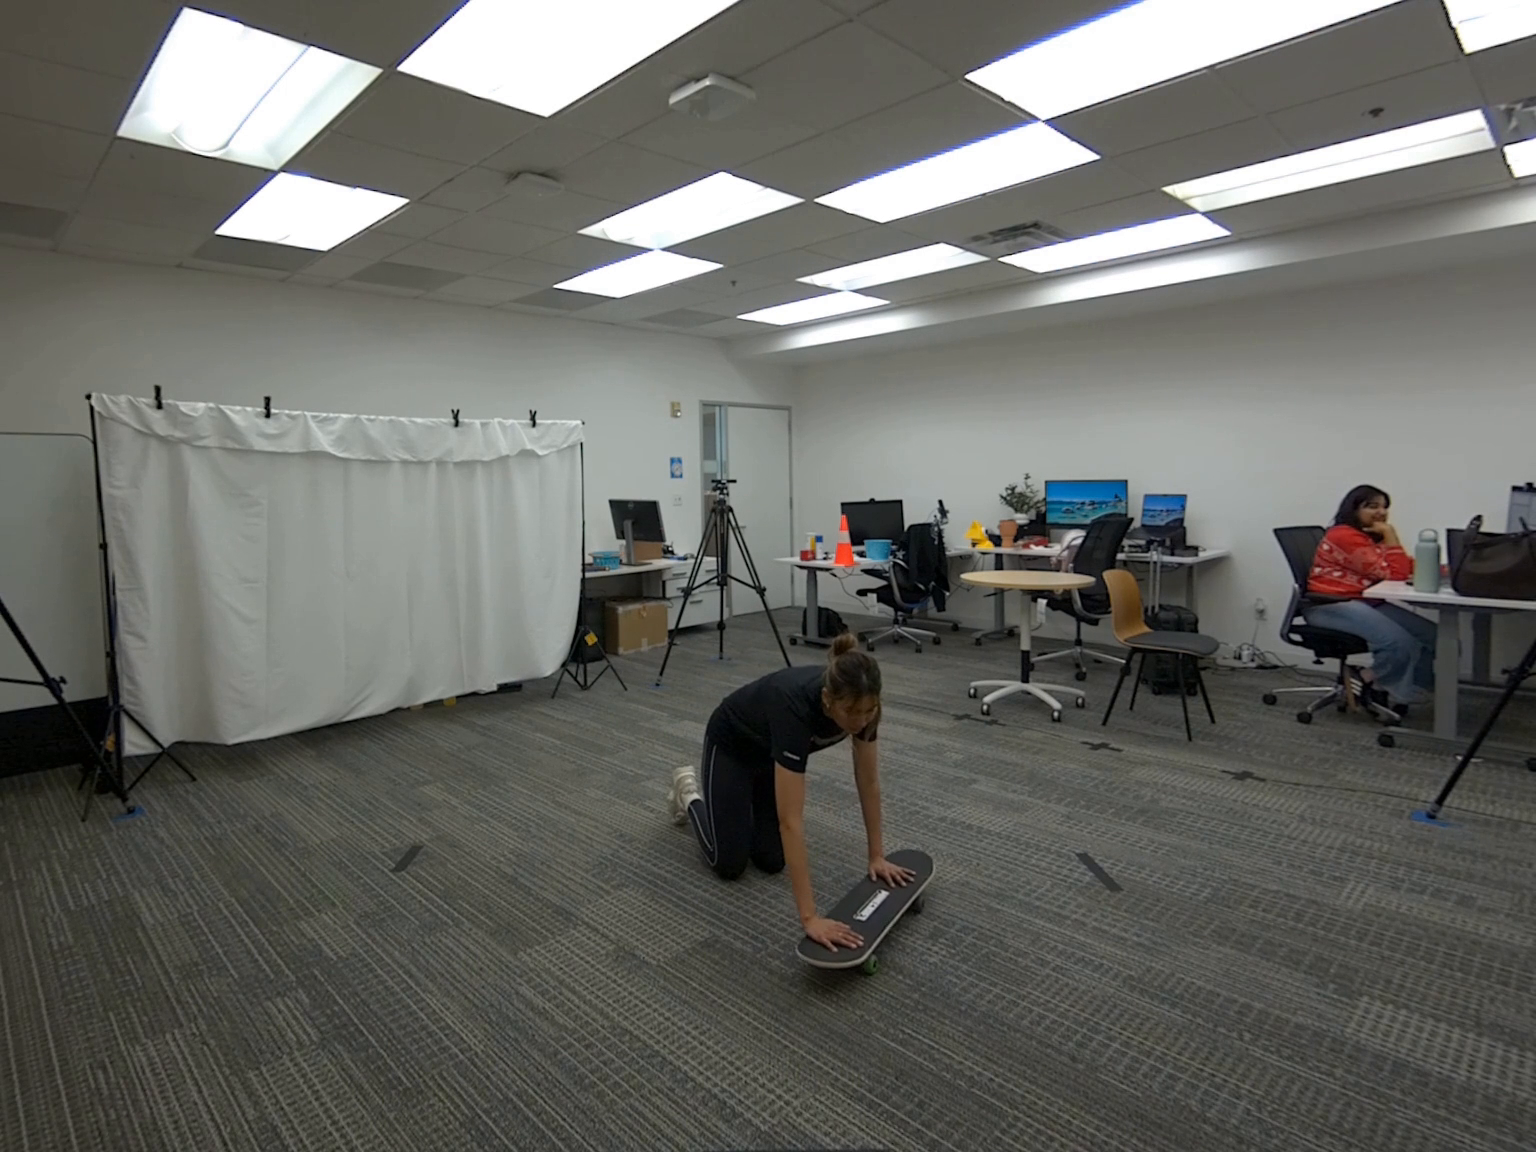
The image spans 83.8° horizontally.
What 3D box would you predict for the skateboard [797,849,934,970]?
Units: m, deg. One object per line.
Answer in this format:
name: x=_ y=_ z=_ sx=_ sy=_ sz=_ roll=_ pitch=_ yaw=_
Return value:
skateboard: x=0.321 y=1.038 z=2.624 sx=0.198 sy=0.110 sz=0.769 roll=1 pitch=6 yaw=30
